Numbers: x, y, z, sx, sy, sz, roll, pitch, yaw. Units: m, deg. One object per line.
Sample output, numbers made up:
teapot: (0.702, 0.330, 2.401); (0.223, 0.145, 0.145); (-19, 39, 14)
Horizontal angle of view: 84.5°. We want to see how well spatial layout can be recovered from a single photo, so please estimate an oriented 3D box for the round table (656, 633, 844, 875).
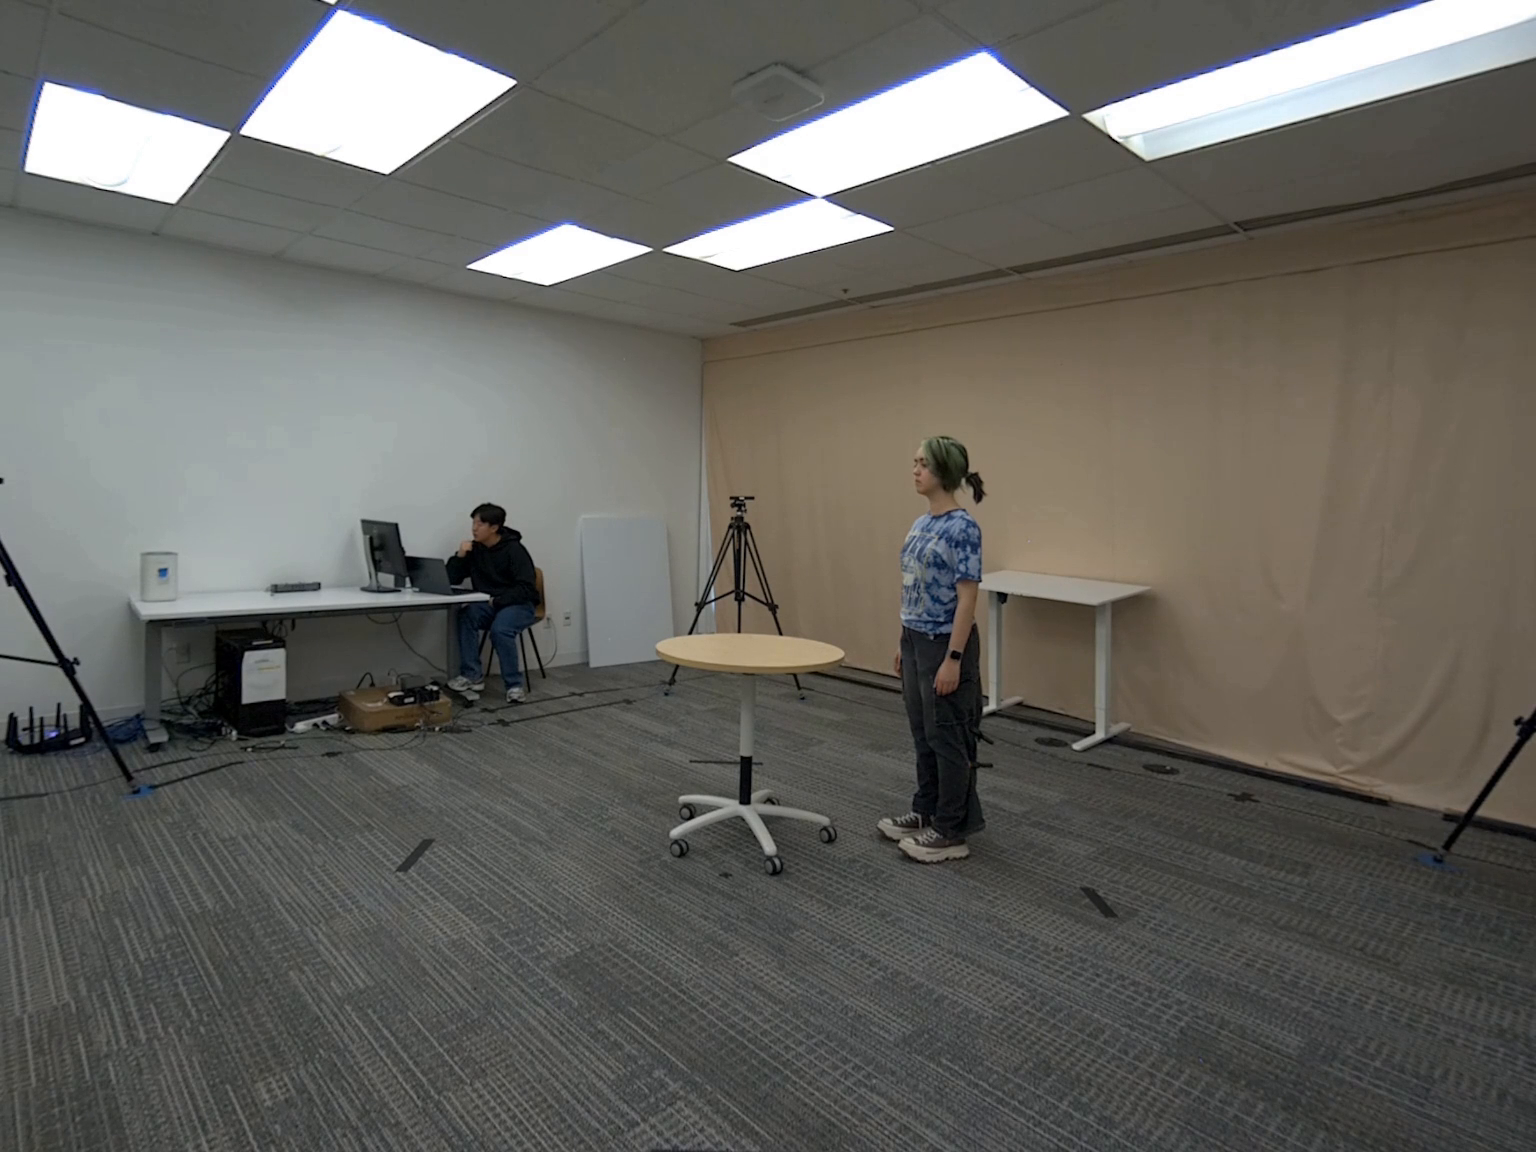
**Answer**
round table: (-0.092, 0.687, 3.430); (0.763, 0.792, 0.766); (2, 4, -1)
